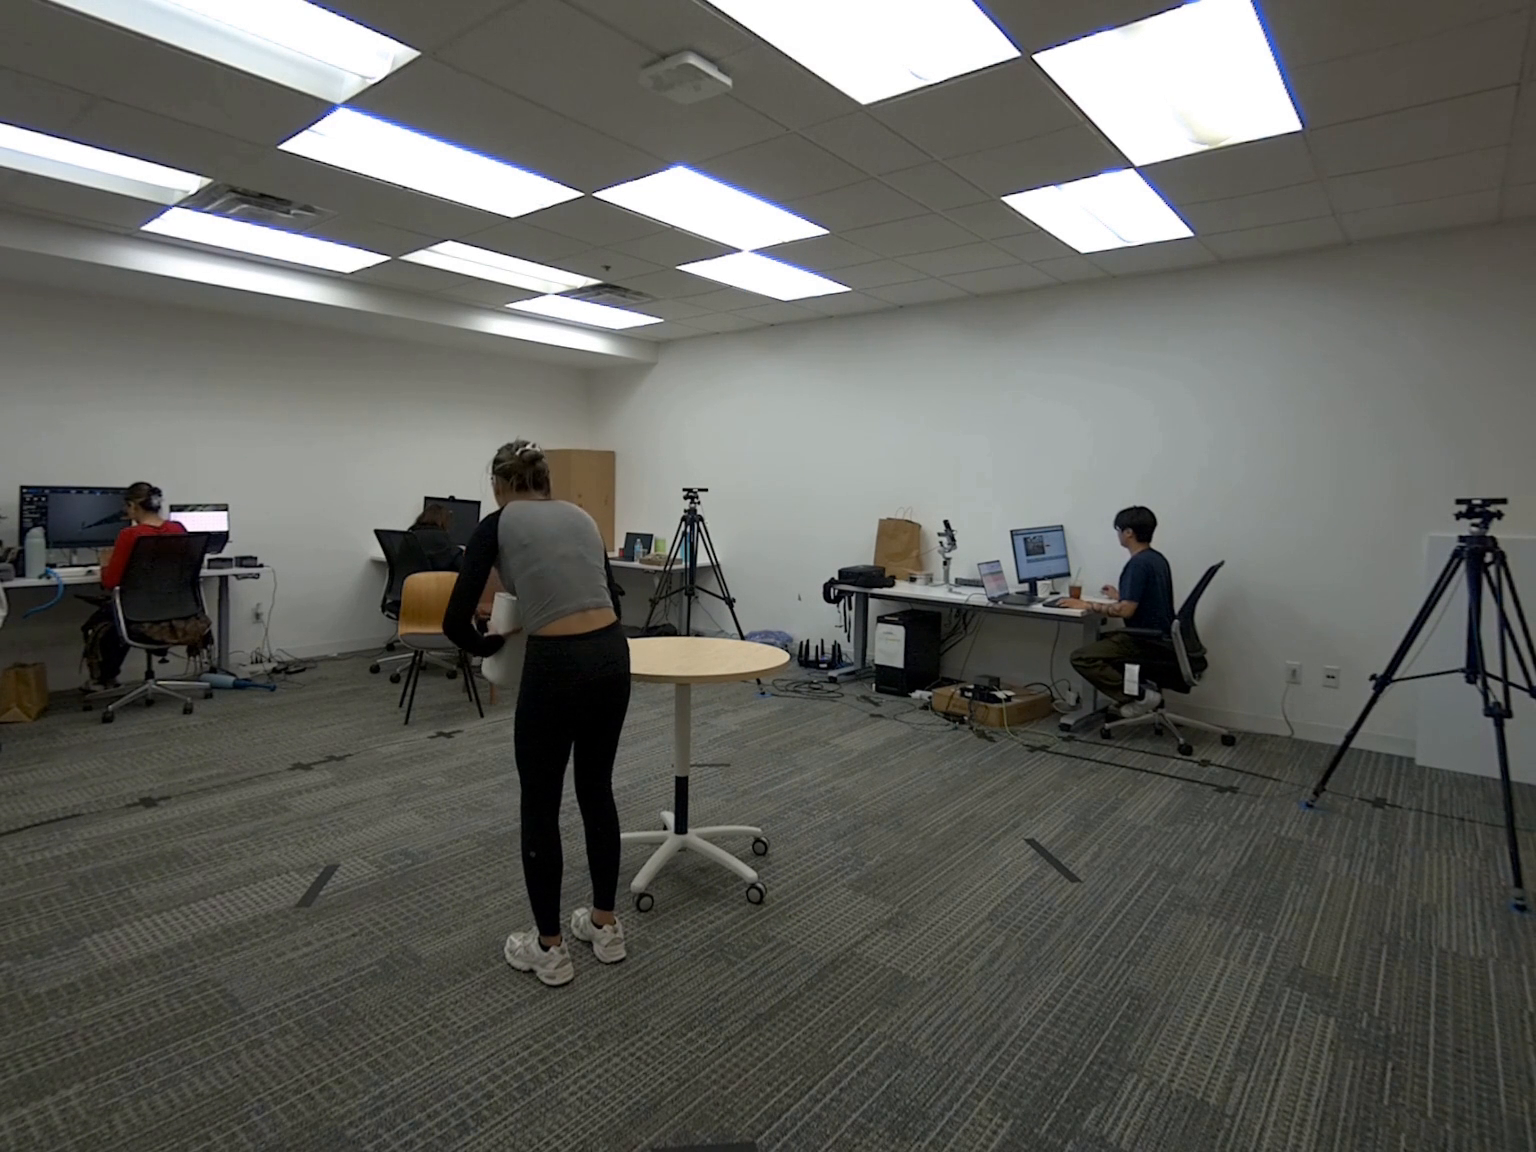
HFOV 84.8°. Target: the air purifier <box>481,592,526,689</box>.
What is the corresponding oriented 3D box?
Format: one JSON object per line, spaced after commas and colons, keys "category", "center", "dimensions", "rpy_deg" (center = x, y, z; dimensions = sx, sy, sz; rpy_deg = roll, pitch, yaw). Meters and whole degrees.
{"category": "air purifier", "center": [-0.782, 0.207, 2.631], "dimensions": [0.165, 0.265, 0.178], "rpy_deg": [10, 1, -39]}
